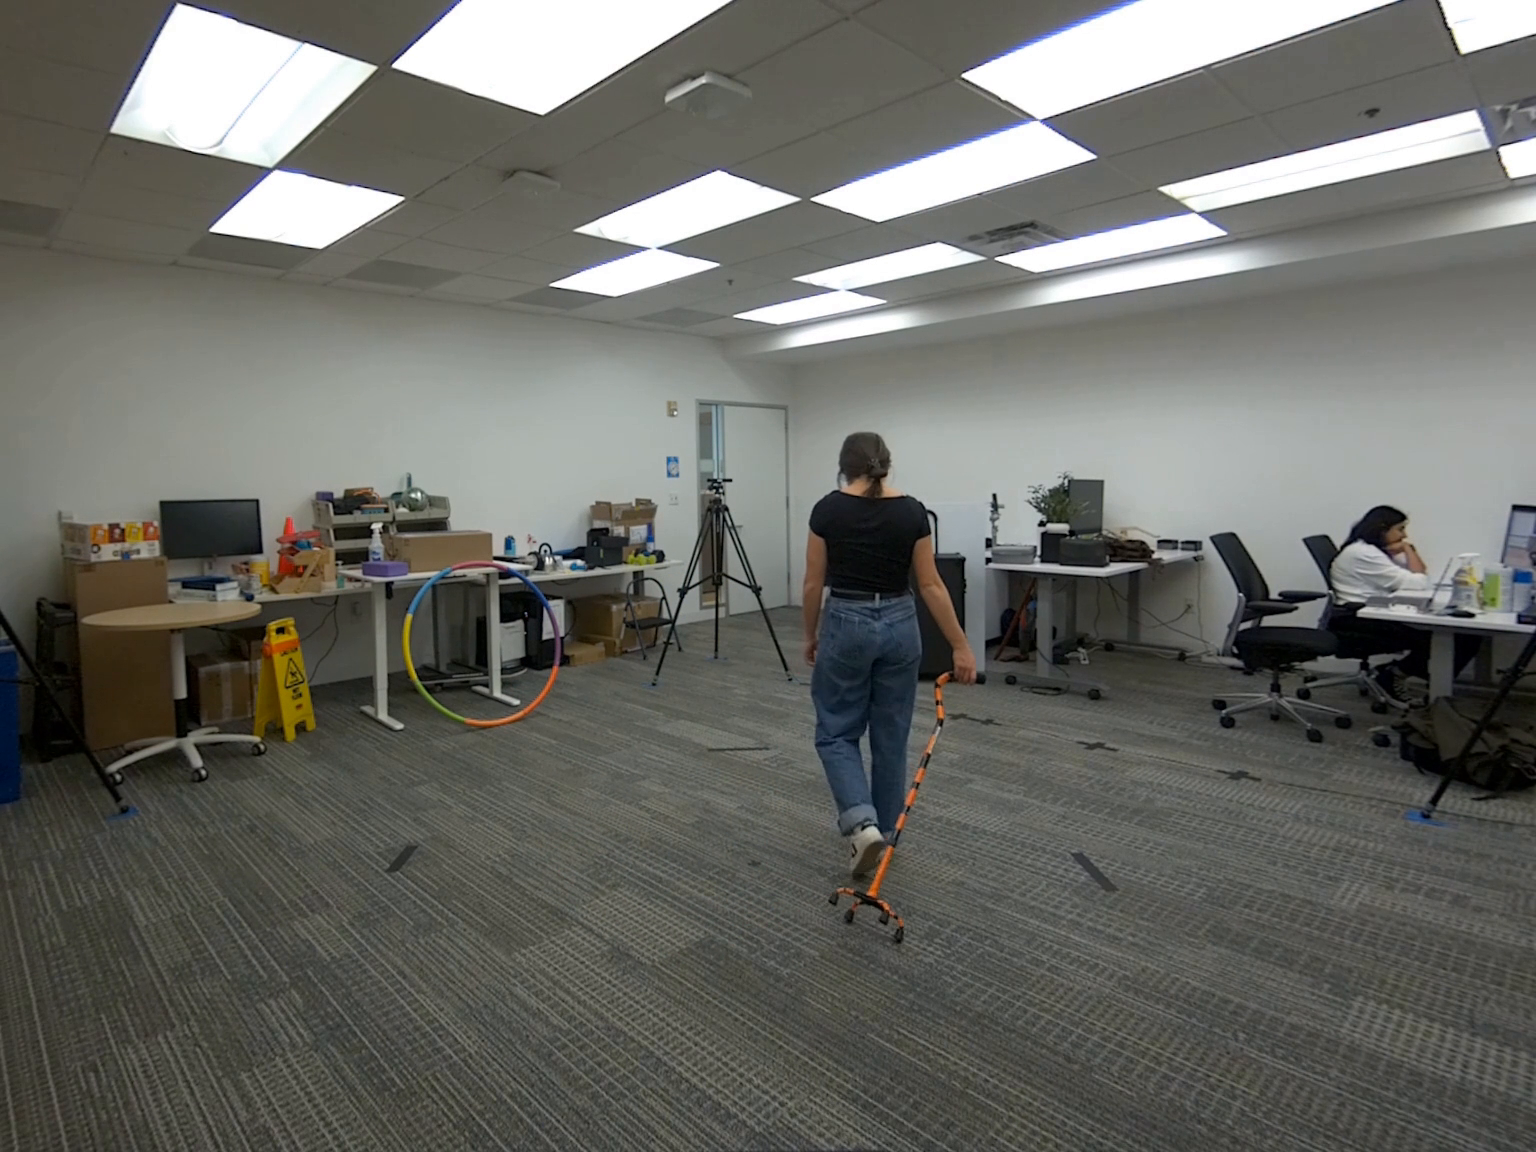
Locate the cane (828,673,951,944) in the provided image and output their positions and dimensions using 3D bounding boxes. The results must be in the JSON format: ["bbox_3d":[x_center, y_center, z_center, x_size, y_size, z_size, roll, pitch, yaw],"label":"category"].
[{"bbox_3d":[0.490,0.704,2.807,0.213,0.914,0.146,5,-38,38],"label":"cane"}]
